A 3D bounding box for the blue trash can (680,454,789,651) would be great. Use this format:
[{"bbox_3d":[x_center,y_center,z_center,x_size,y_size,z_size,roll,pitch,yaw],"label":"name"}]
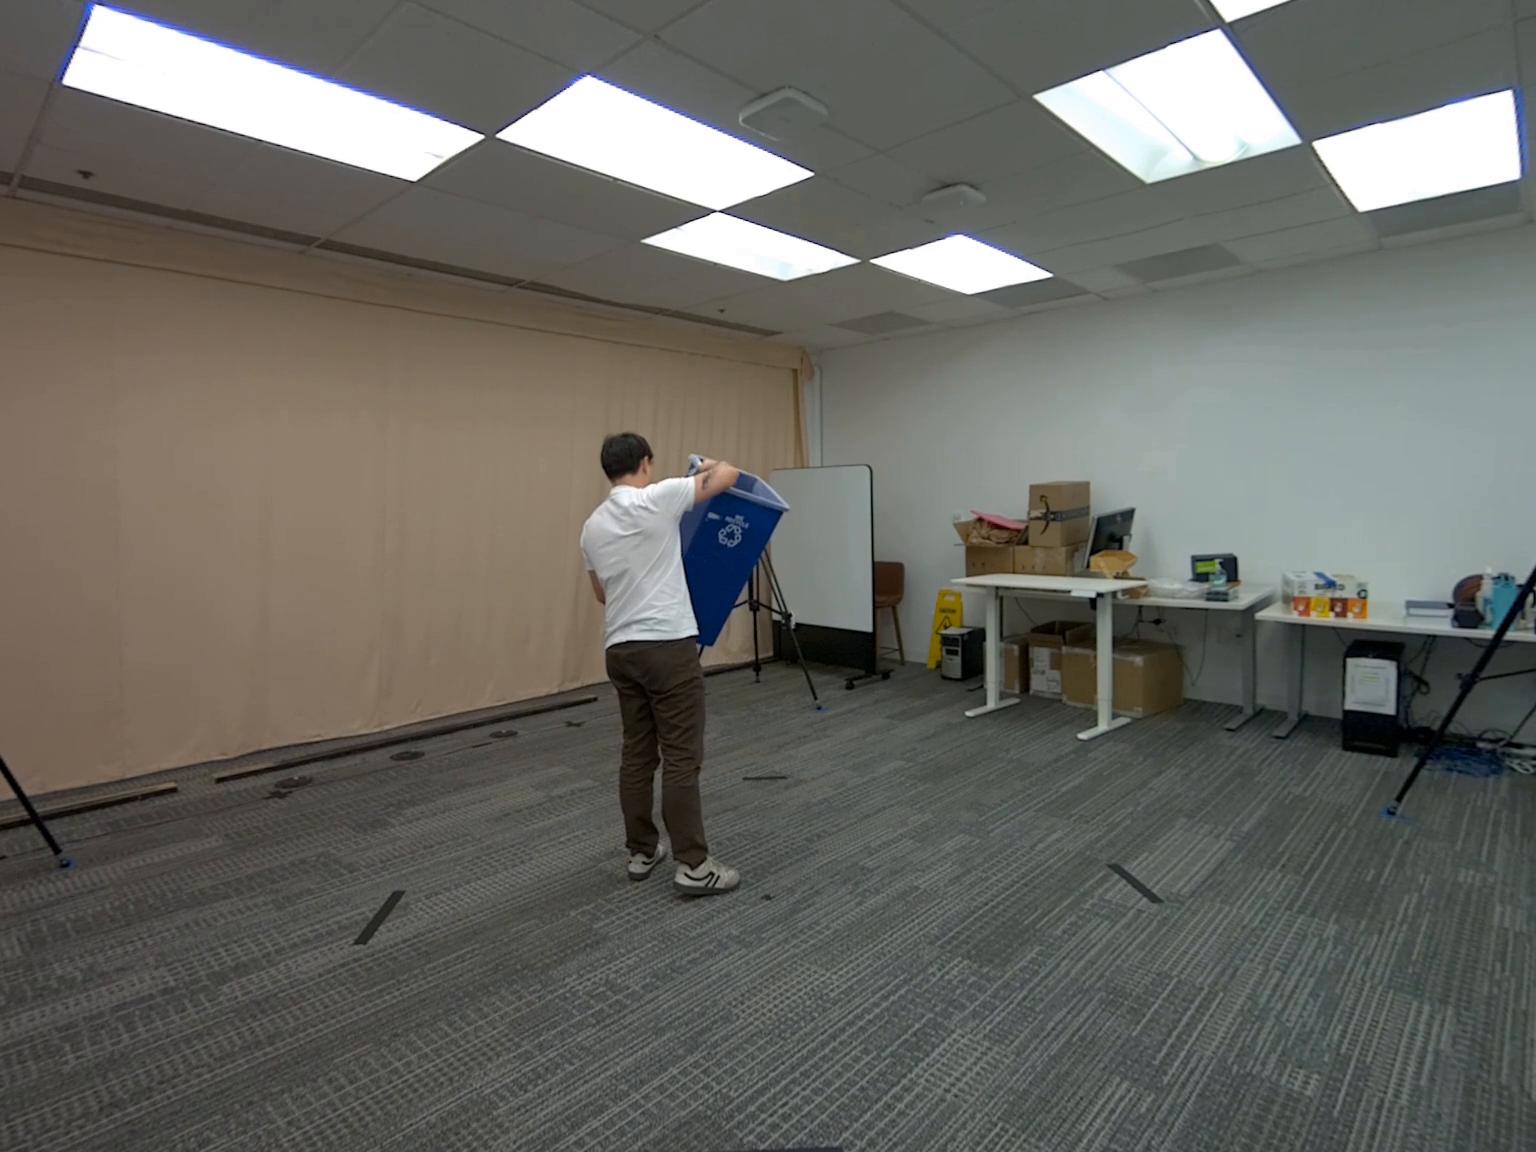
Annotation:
[{"bbox_3d":[-0.257,-0.093,3.630,0.367,0.712,0.386,15,19,-28],"label":"blue trash can"}]
